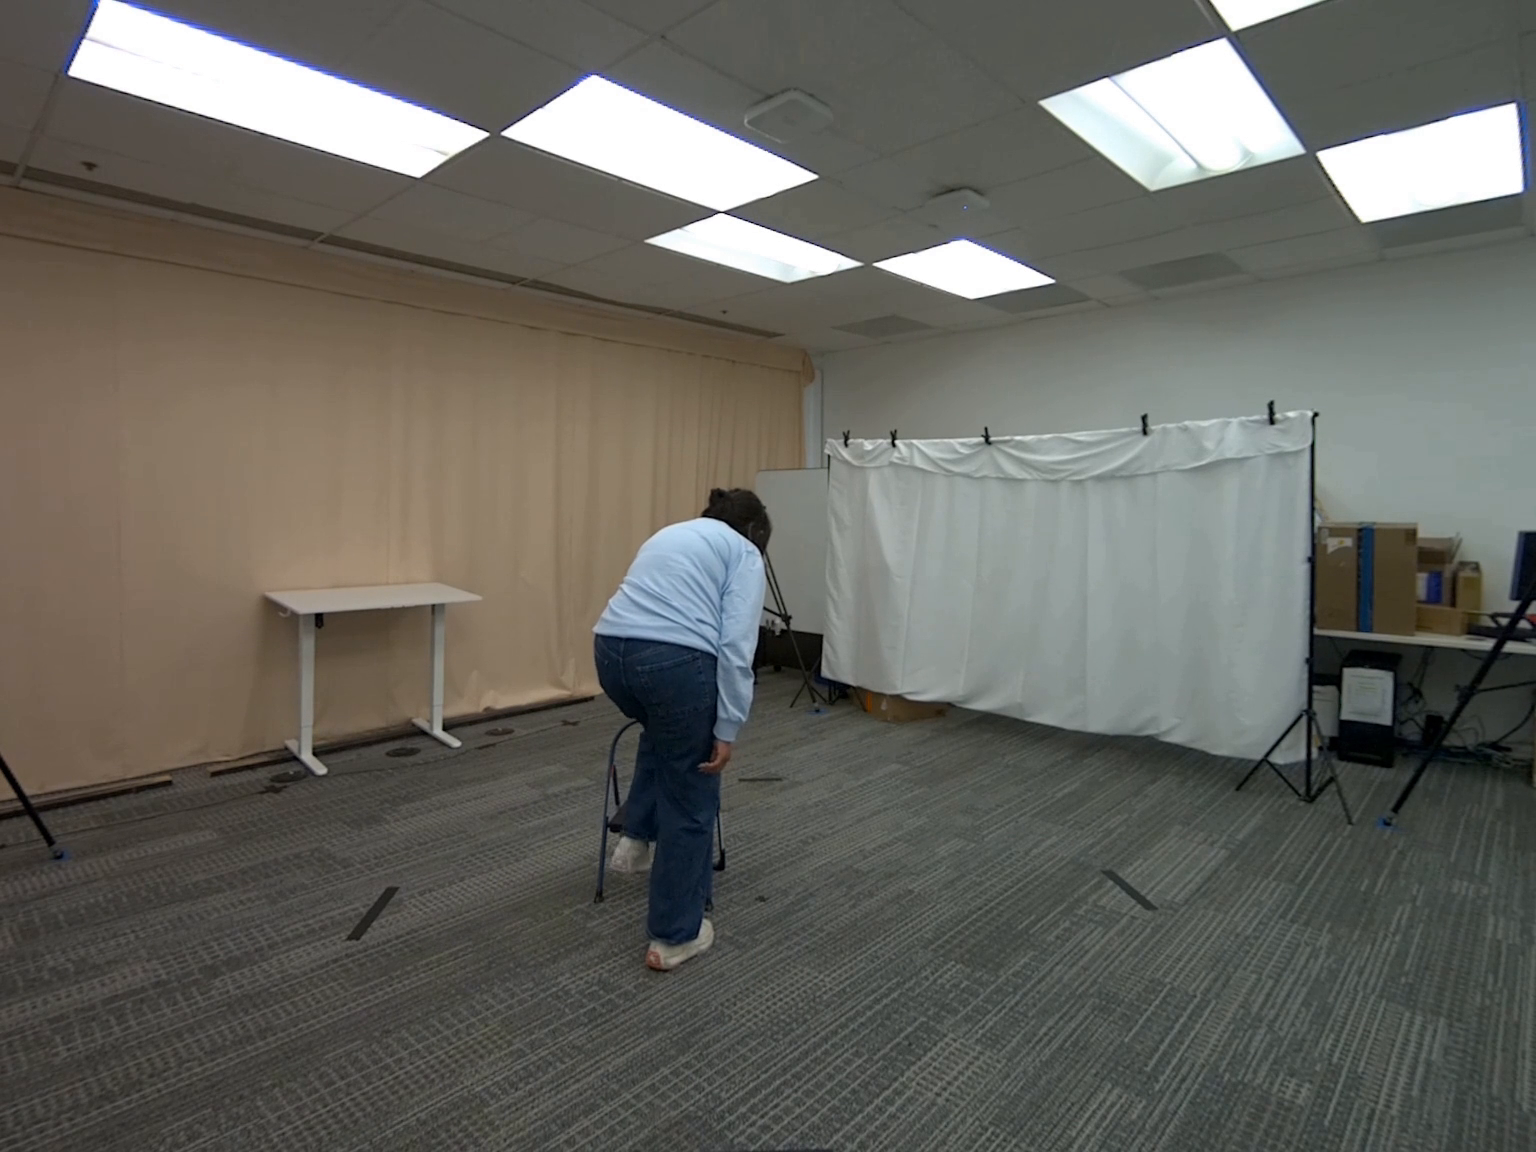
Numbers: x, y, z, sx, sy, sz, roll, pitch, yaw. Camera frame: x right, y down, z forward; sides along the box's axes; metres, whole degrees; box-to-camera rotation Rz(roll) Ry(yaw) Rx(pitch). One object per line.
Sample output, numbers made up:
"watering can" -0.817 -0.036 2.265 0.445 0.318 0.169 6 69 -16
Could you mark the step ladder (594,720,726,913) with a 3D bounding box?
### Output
"step ladder" -0.389 0.837 3.087 0.435 0.605 0.347 0 4 8
